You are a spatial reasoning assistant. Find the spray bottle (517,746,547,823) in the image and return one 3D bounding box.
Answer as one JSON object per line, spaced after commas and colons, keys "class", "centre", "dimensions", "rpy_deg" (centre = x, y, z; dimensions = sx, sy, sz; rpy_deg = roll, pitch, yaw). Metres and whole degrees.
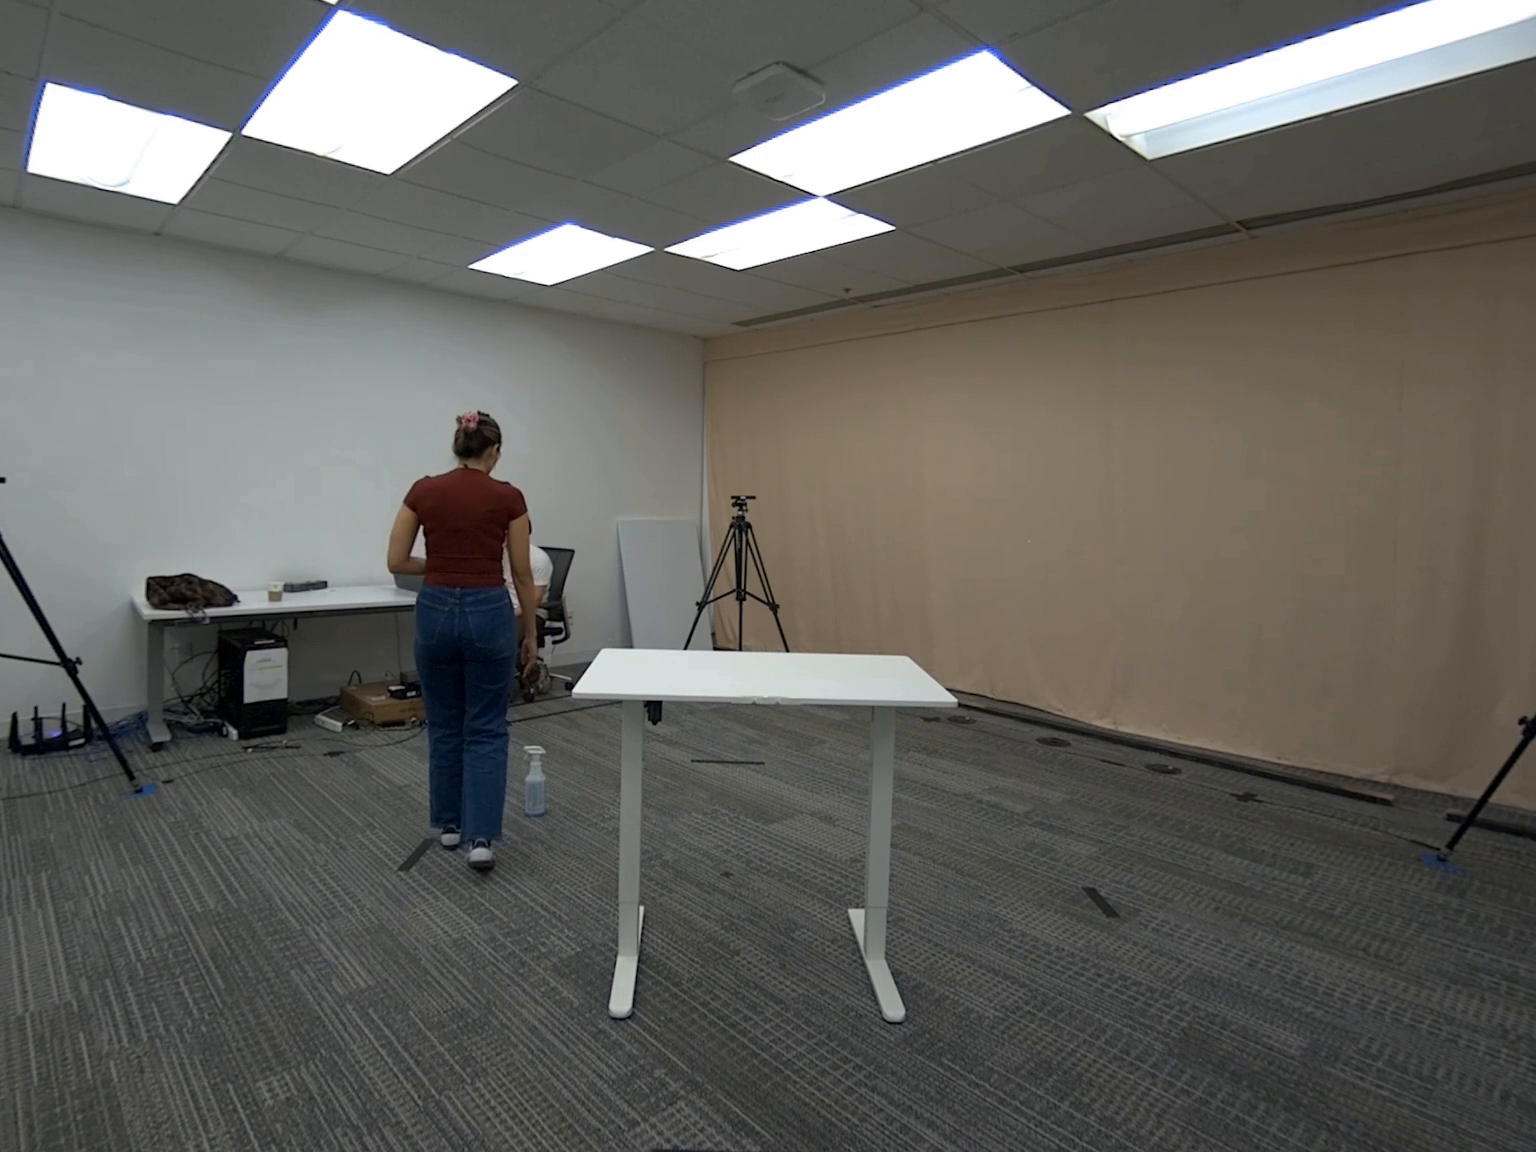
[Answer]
{"class": "spray bottle", "centre": [-1.020, 0.895, 3.650], "dimensions": [0.090, 0.297, 0.087], "rpy_deg": [3, 3, 6]}
